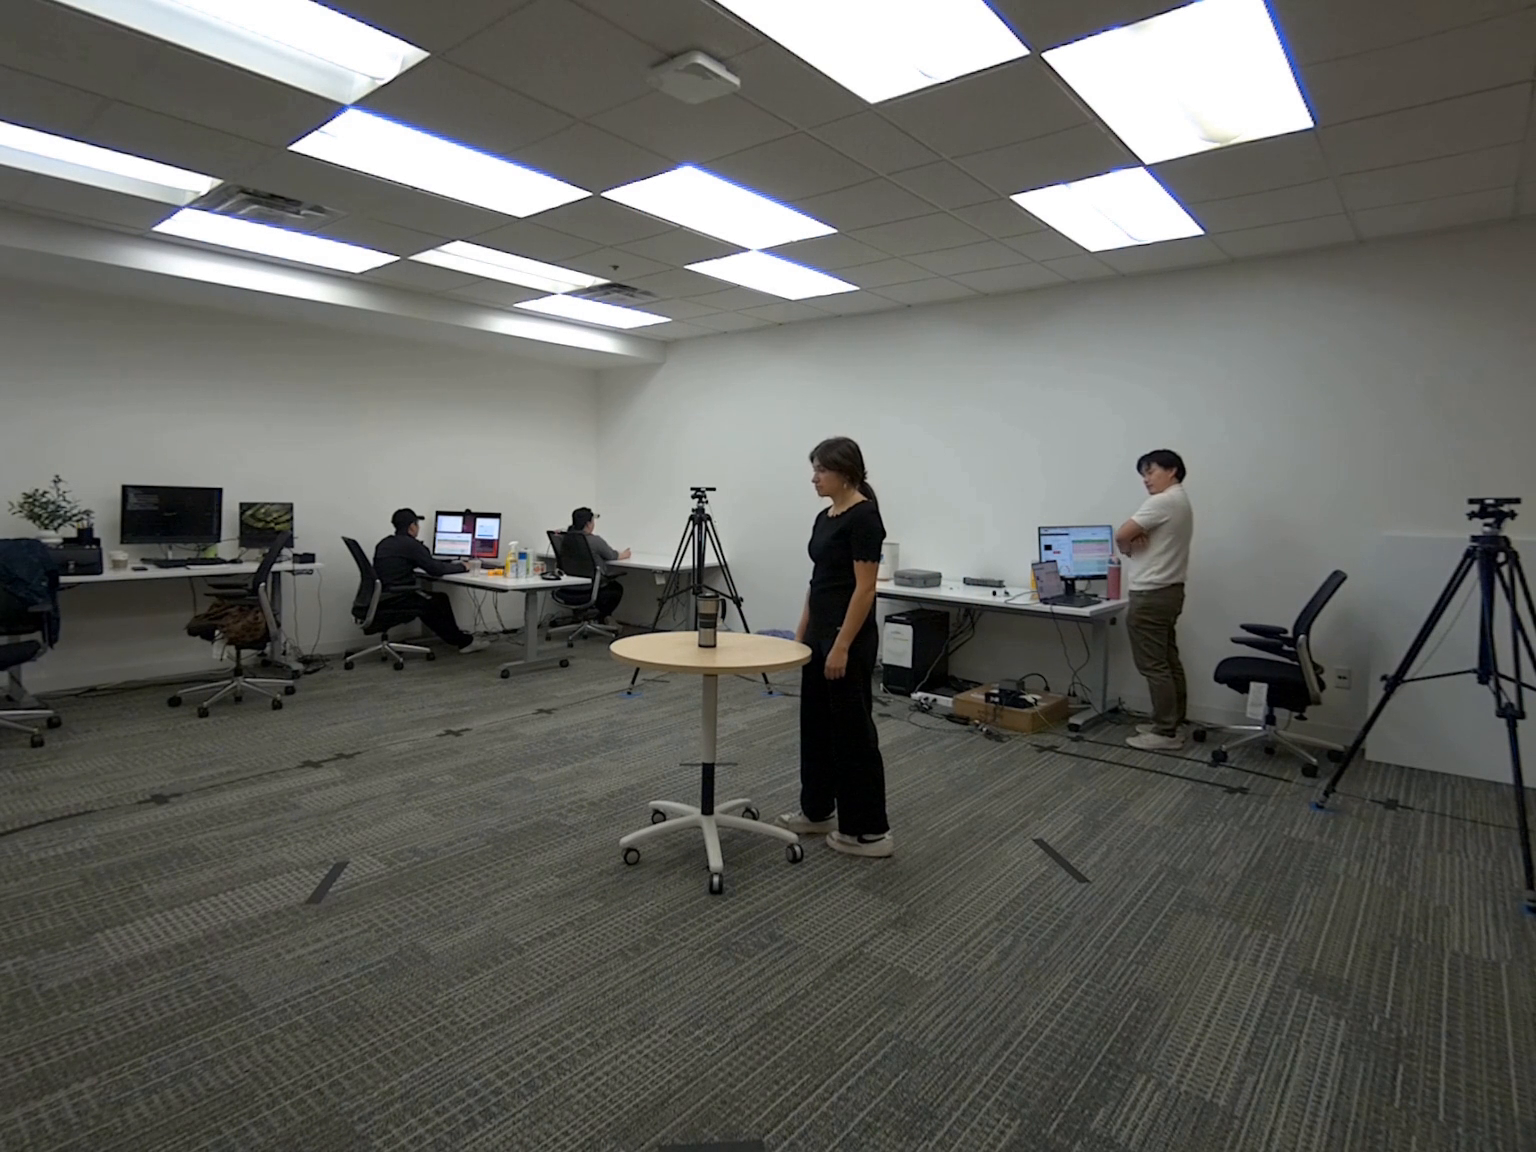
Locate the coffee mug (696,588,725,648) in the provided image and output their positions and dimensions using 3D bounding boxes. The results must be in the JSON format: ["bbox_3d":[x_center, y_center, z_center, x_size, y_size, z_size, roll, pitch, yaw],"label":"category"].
[{"bbox_3d":[-0.225,0.170,3.245,0.125,0.203,0.085,0,-3,32],"label":"coffee mug"}]
